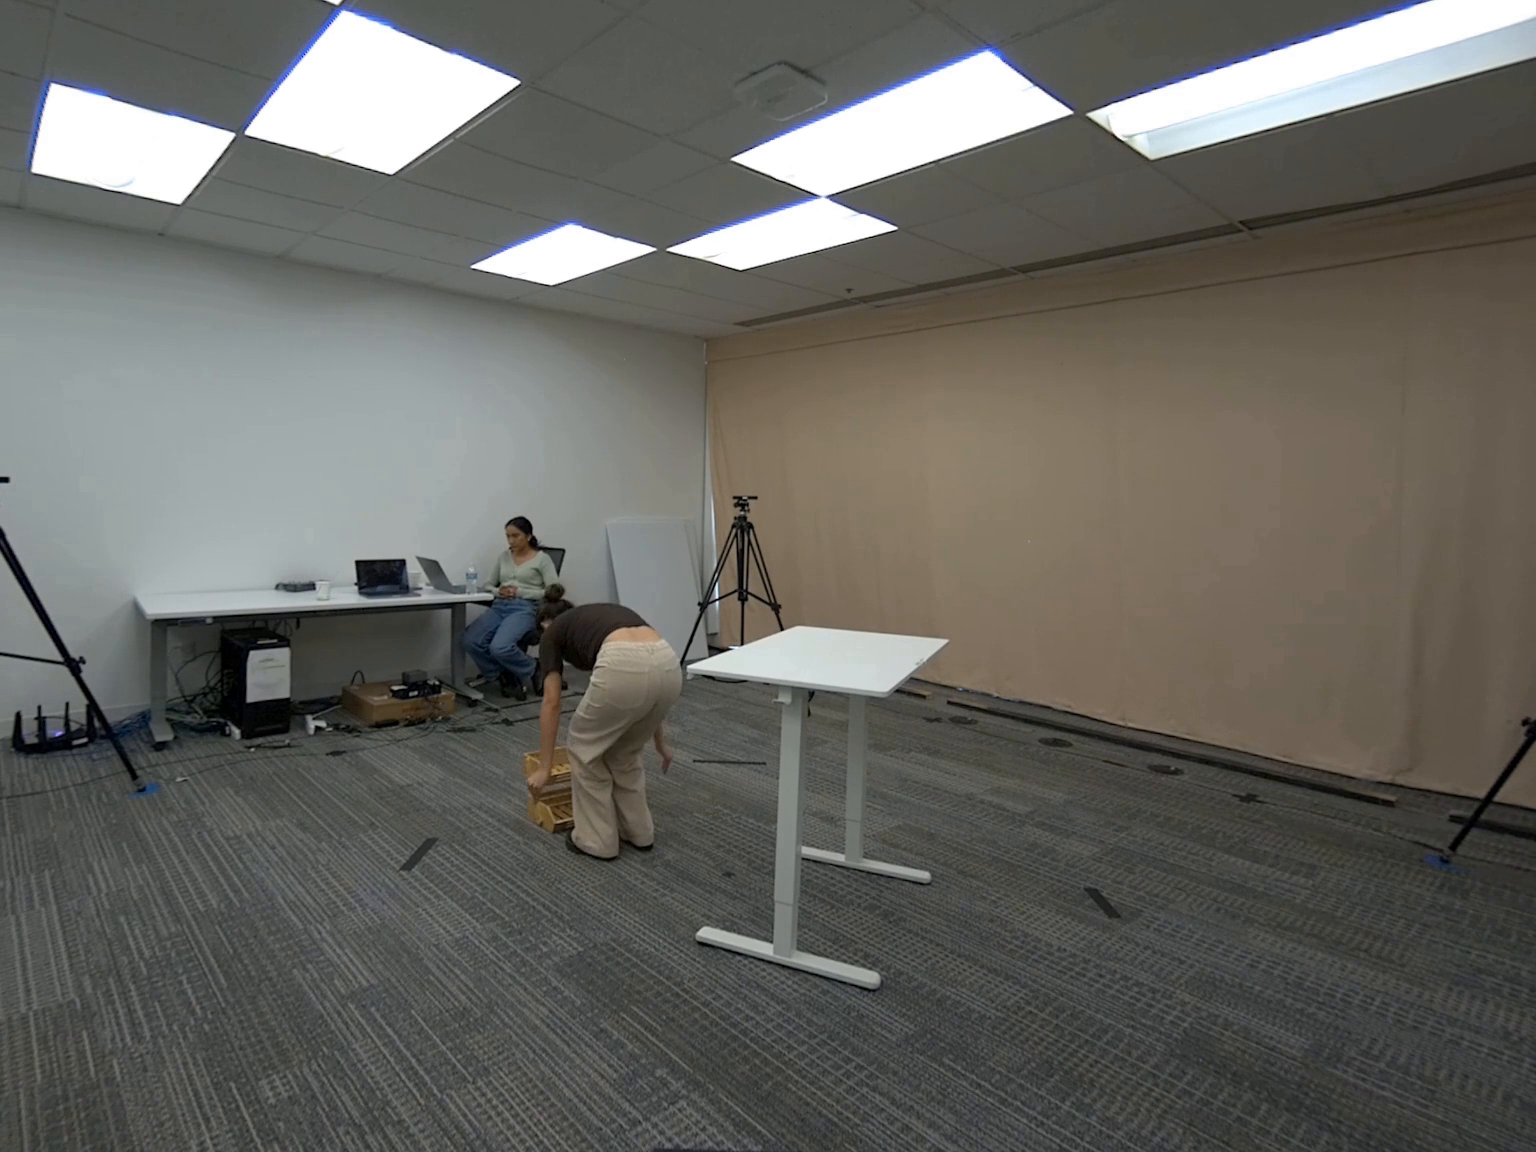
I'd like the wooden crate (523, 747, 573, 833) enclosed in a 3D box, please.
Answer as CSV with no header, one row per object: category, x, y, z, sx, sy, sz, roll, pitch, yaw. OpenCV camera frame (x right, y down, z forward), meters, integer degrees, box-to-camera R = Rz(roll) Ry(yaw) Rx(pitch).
wooden crate,-0.864,0.906,3.638,0.317,0.273,0.309,-2,4,-39
